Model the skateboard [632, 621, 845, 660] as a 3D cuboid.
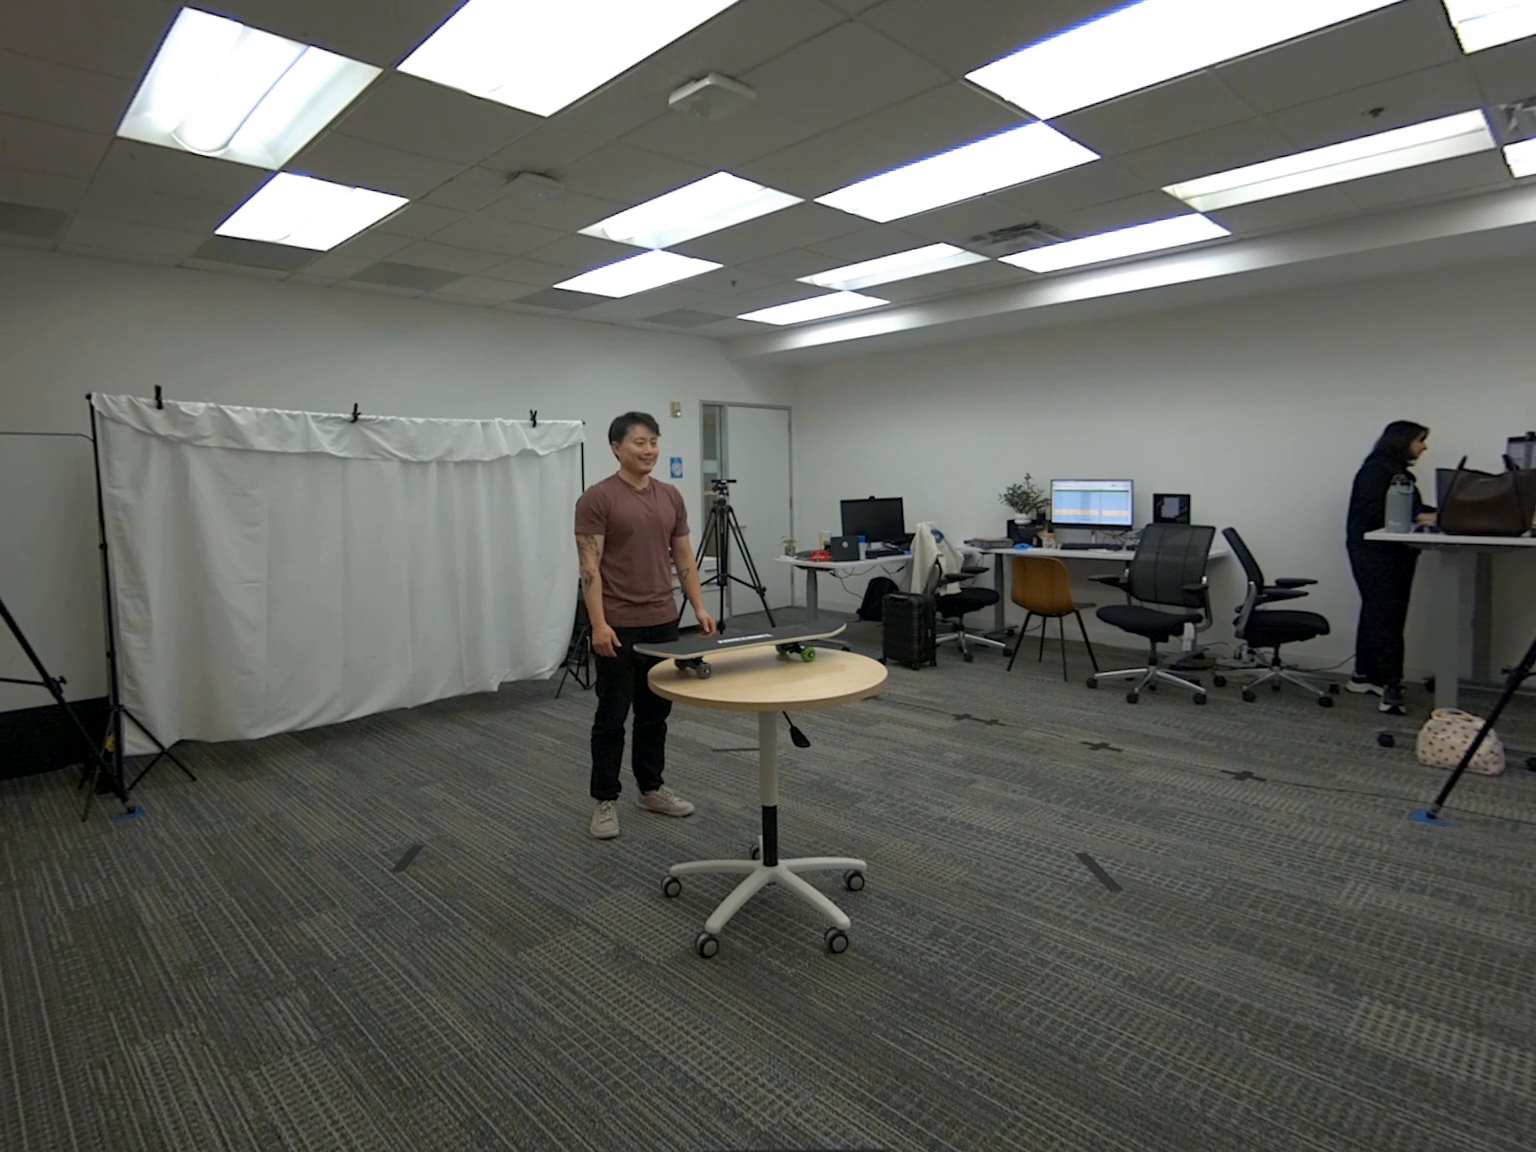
[{"bbox_3d":[-0.071,0.246,2.822,0.767,0.110,0.199,-5,7,-29],"label":"skateboard"}]
